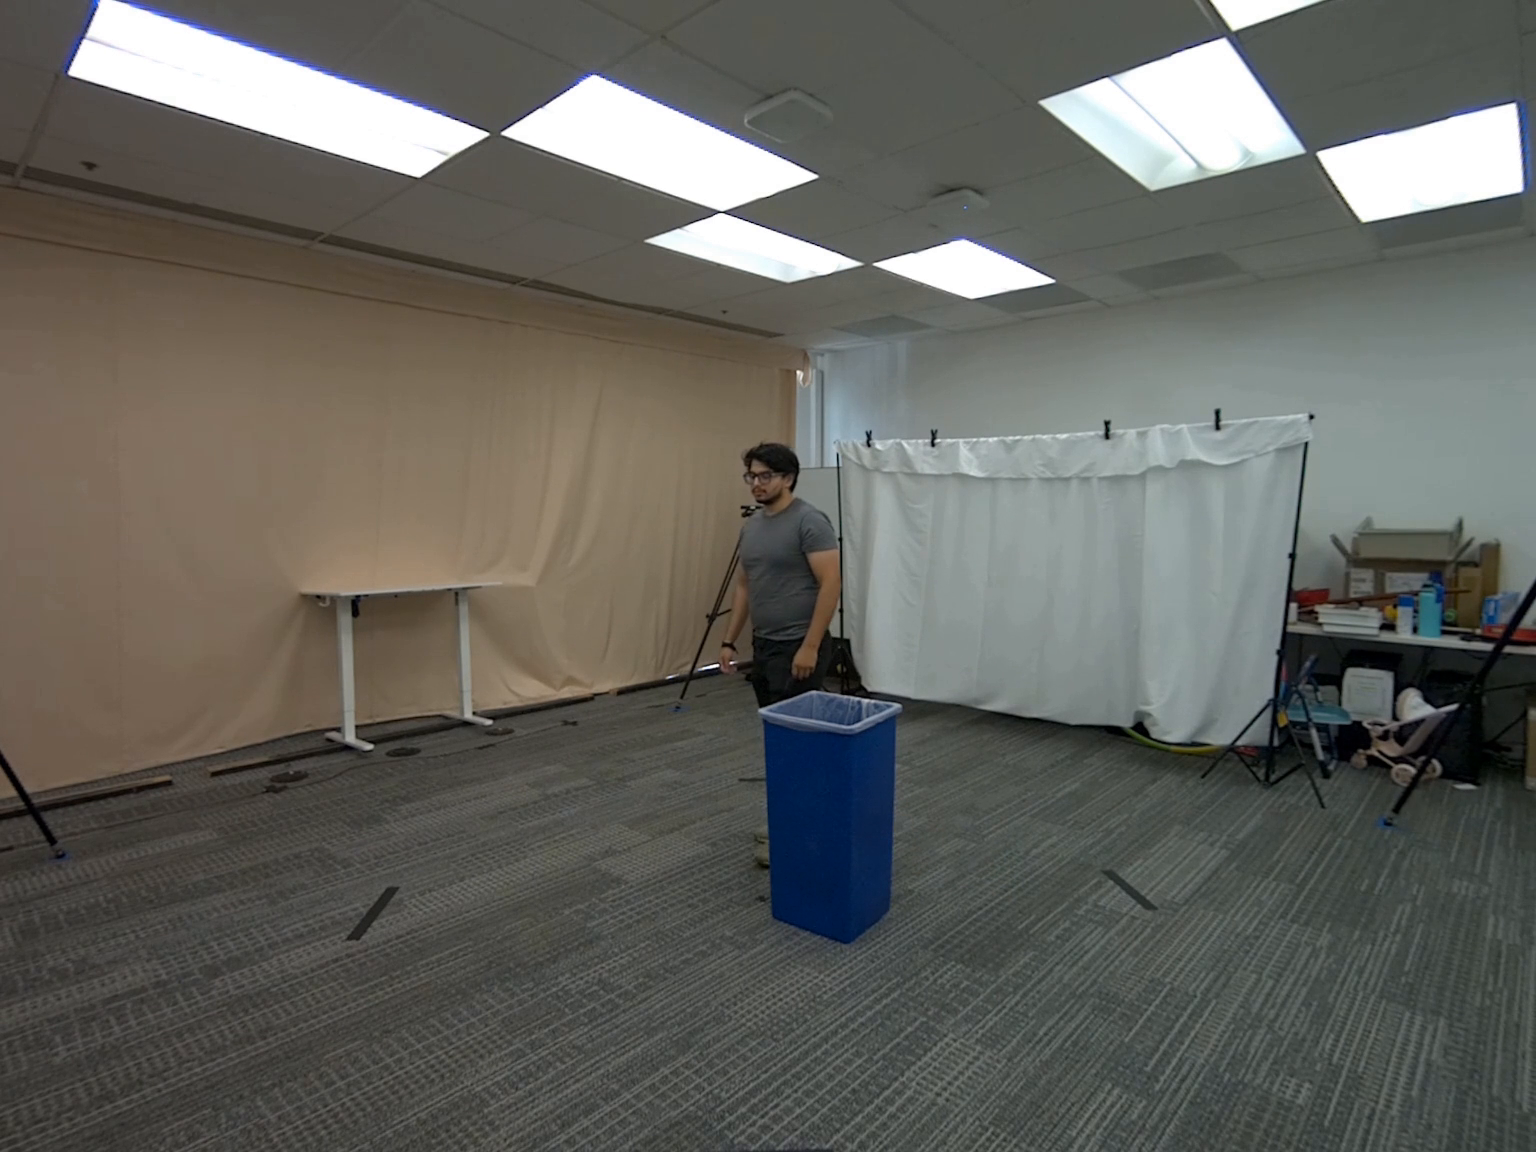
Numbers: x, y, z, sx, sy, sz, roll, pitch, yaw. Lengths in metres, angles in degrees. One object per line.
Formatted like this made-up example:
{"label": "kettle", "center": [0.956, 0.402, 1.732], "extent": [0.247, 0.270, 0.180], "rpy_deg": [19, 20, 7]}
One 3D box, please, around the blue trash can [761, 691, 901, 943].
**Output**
{"label": "blue trash can", "center": [0.218, 0.797, 2.844], "extent": [0.390, 0.712, 0.363], "rpy_deg": [2, 4, 37]}
